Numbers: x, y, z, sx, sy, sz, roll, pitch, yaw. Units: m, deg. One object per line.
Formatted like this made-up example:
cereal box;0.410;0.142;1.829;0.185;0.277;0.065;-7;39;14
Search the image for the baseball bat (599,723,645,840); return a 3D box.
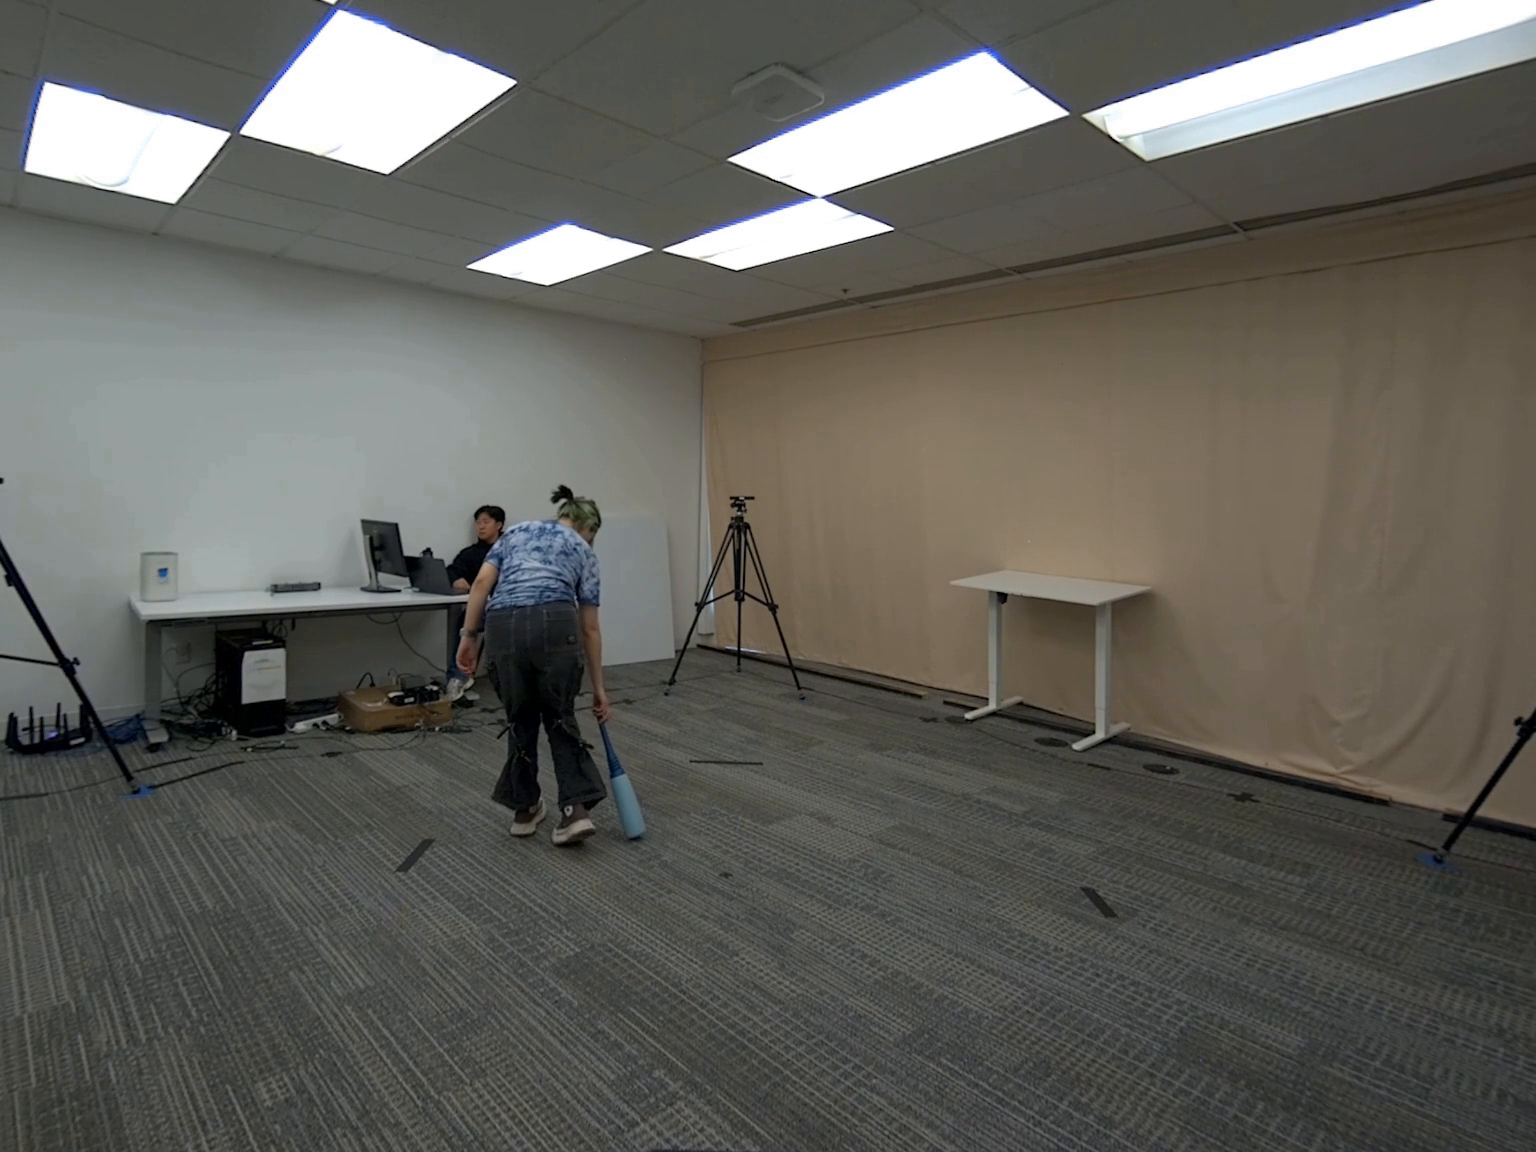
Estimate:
baseball bat;-0.642;0.814;3.471;0.089;0.550;0.088;-22;-13;-6
